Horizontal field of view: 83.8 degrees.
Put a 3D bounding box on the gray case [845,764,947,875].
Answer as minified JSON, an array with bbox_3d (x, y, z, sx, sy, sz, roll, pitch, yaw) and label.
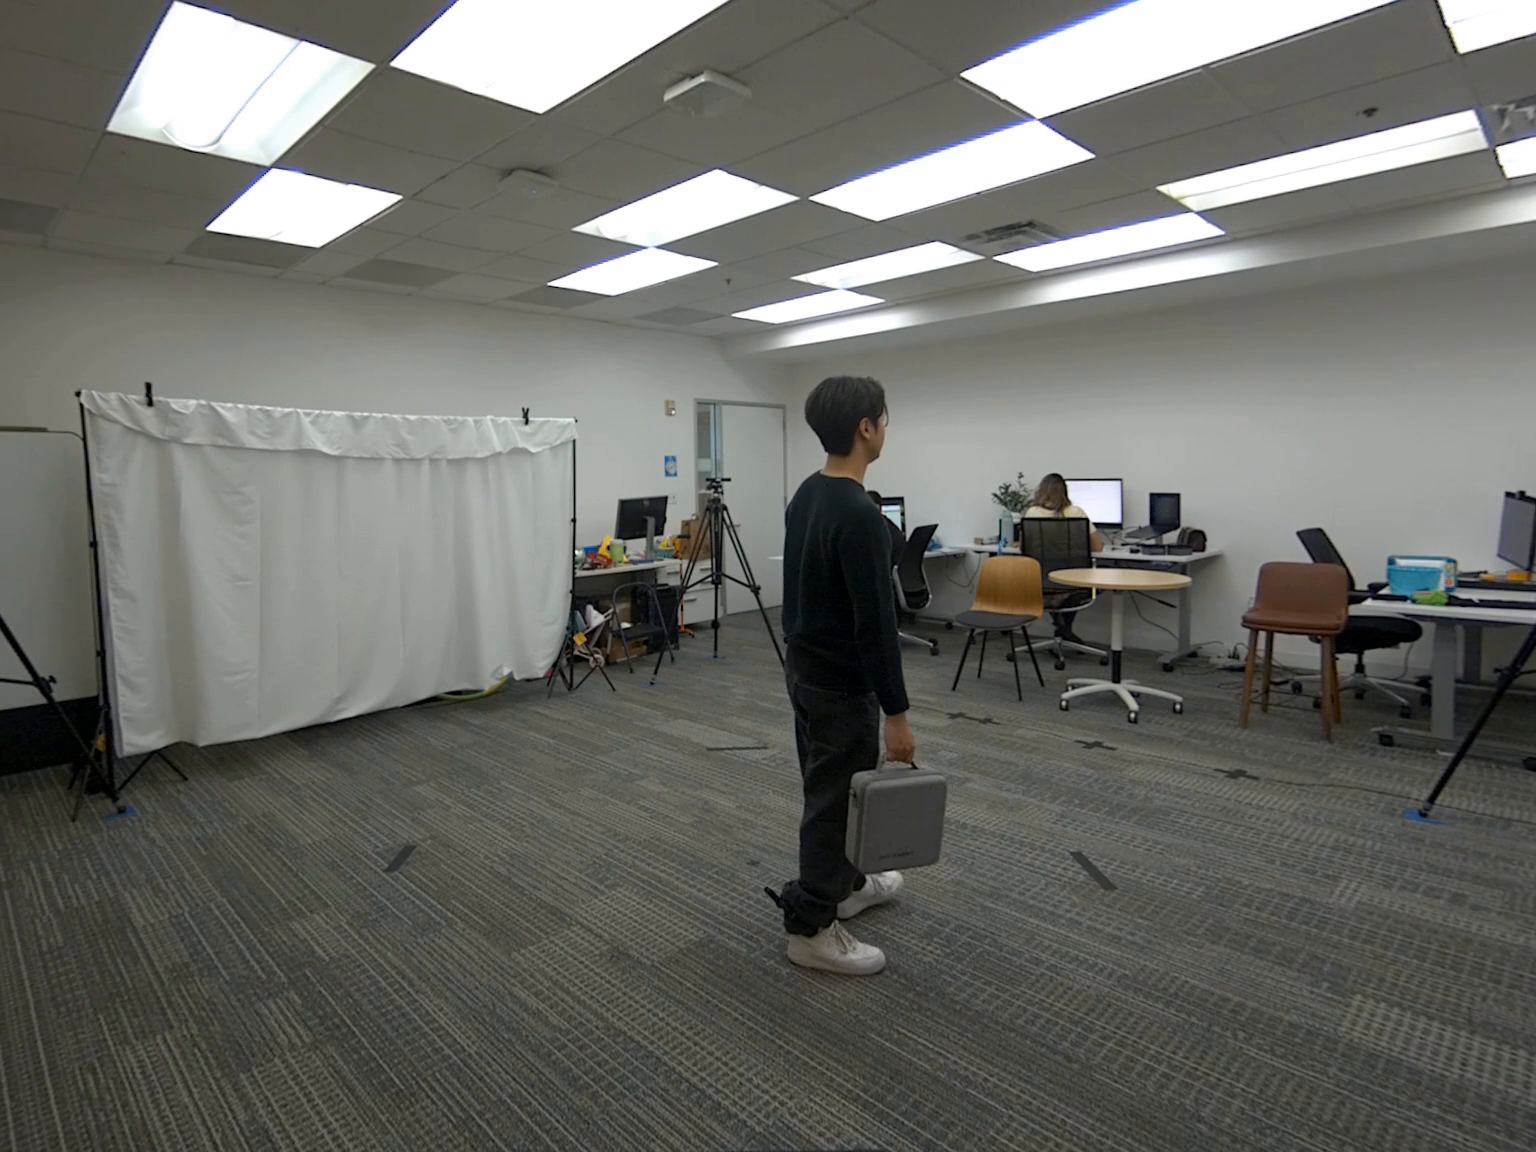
[{"bbox_3d":[0.334,0.632,2.262,0.251,0.259,0.107,1,5,-23],"label":"gray case"}]
